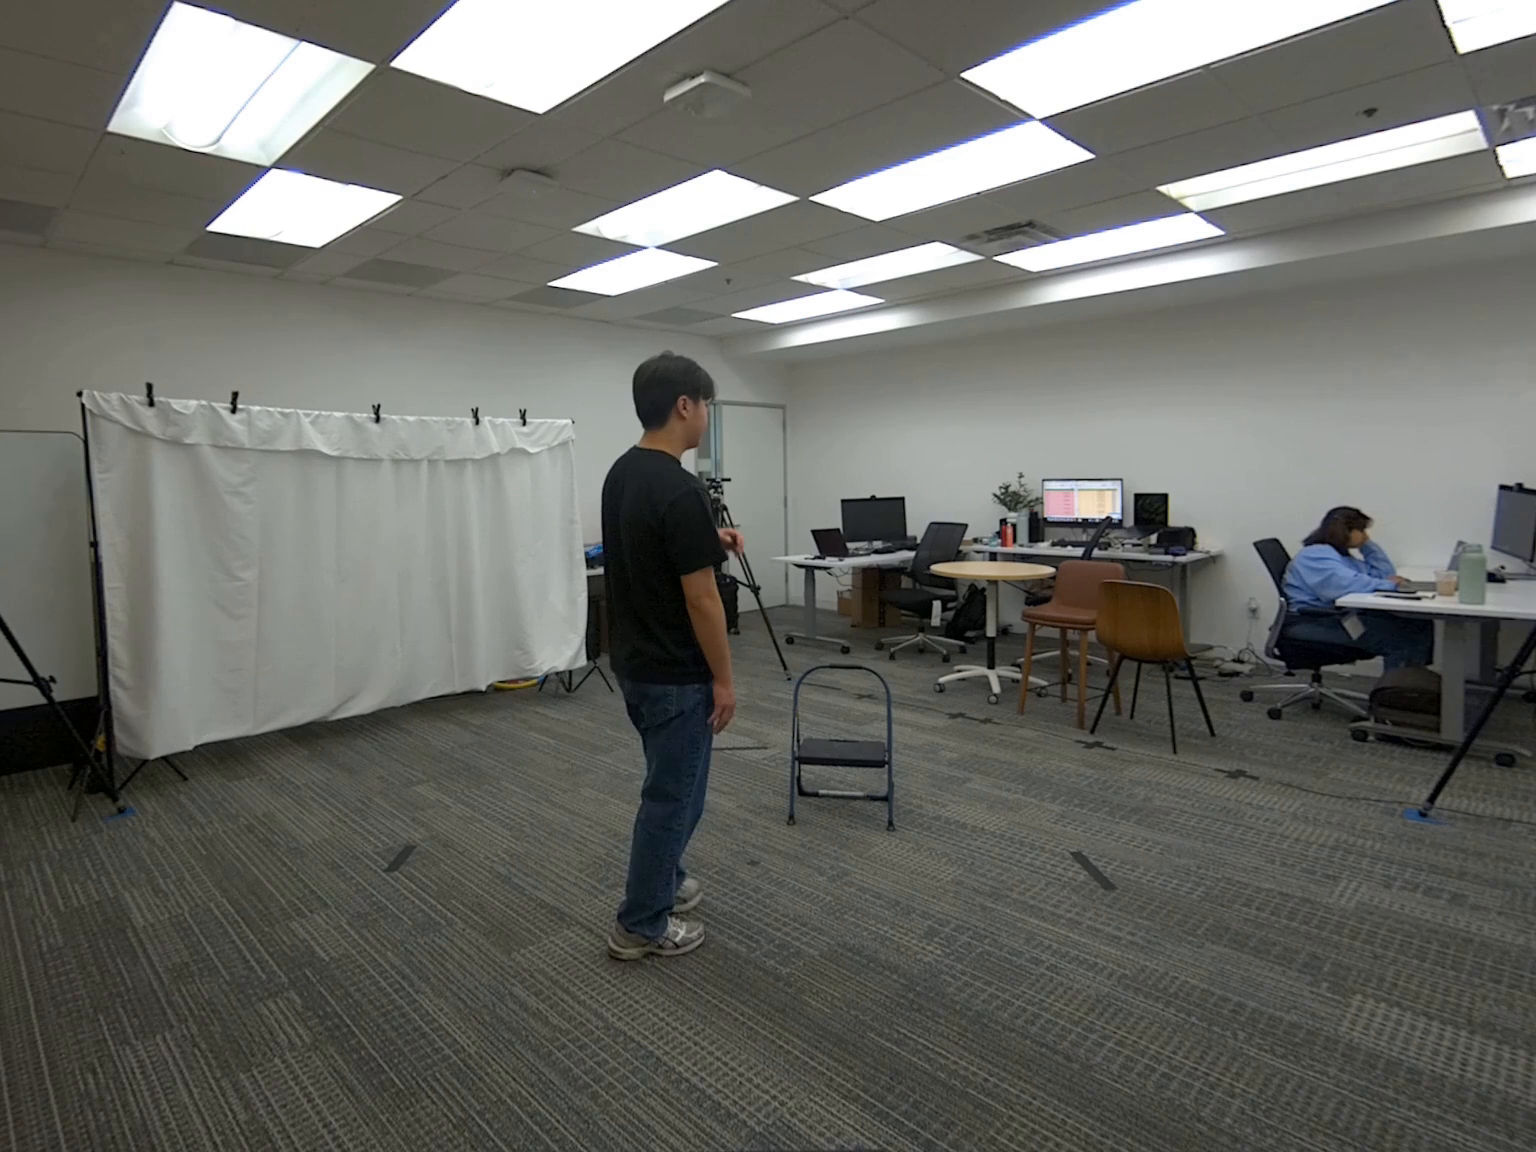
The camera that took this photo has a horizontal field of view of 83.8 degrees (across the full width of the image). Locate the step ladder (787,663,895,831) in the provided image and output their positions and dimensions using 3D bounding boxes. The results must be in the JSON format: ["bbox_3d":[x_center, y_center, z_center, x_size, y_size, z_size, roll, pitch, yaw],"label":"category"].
[{"bbox_3d":[0.312,0.684,3.553,0.435,0.604,0.347,0,4,9],"label":"step ladder"}]
